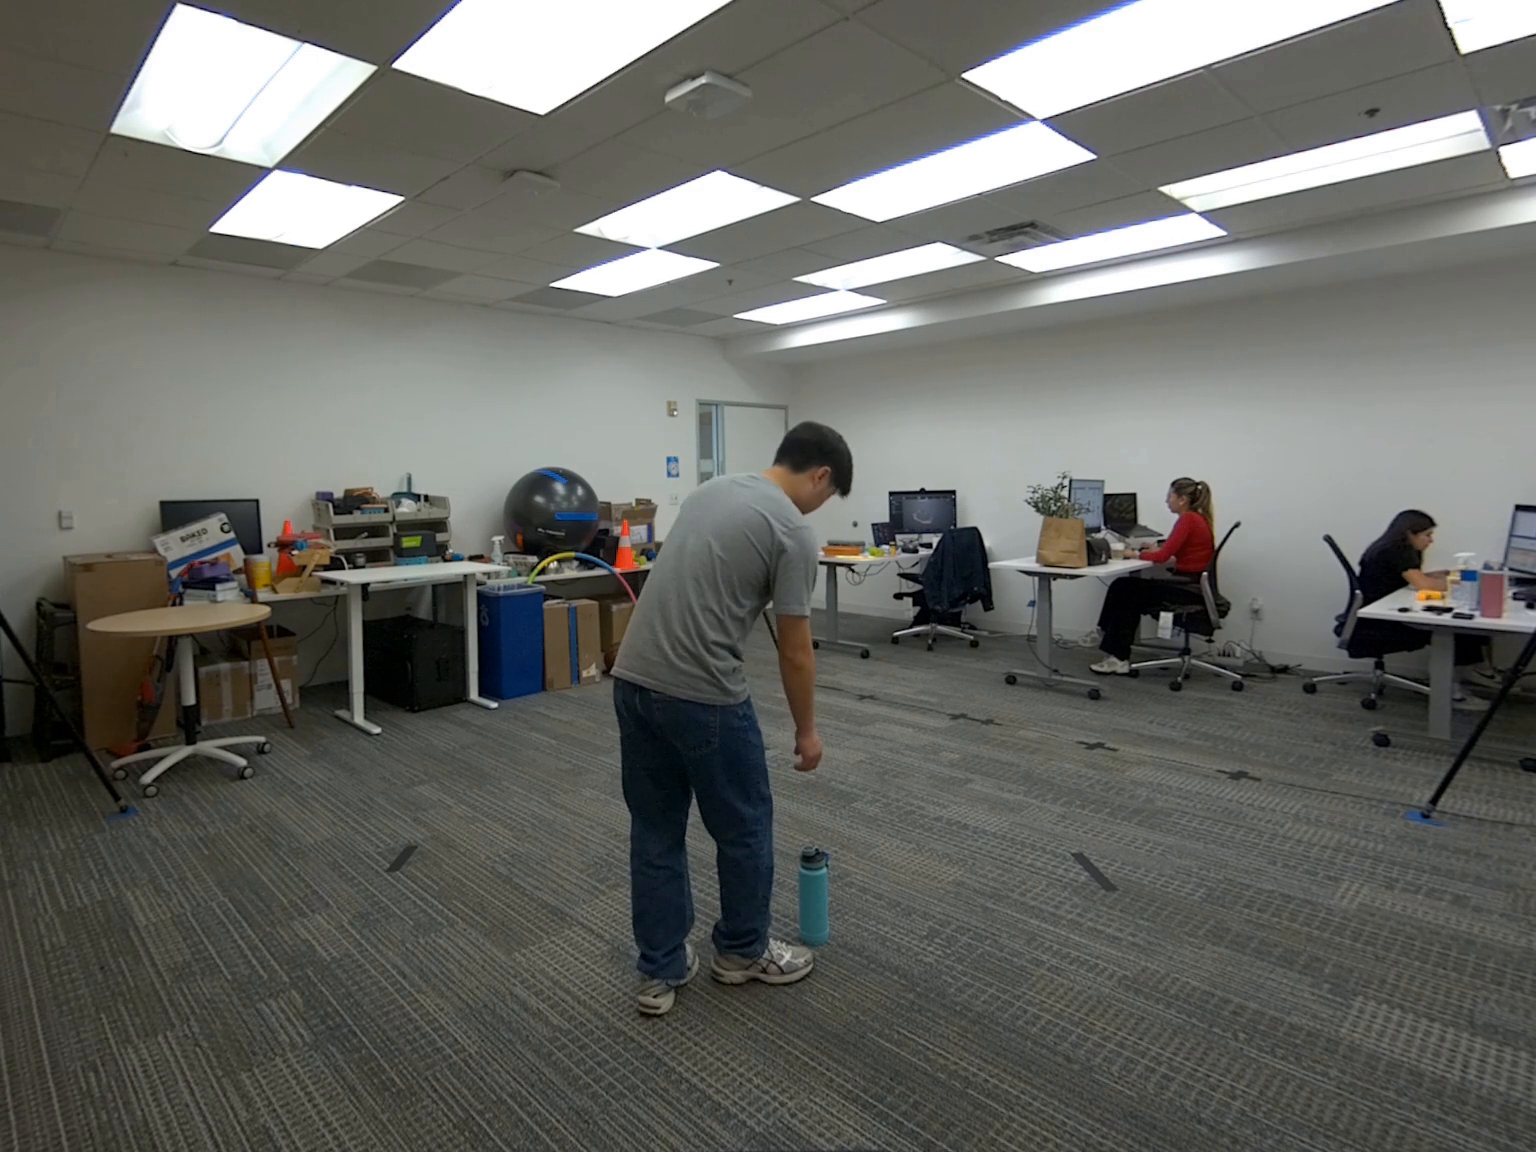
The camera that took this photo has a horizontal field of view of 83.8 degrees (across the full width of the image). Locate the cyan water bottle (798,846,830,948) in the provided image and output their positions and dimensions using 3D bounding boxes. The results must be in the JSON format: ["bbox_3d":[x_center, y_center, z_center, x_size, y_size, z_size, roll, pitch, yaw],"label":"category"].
[{"bbox_3d":[0.145,0.962,2.589,0.092,0.282,0.093,-1,4,-2],"label":"cyan water bottle"}]
